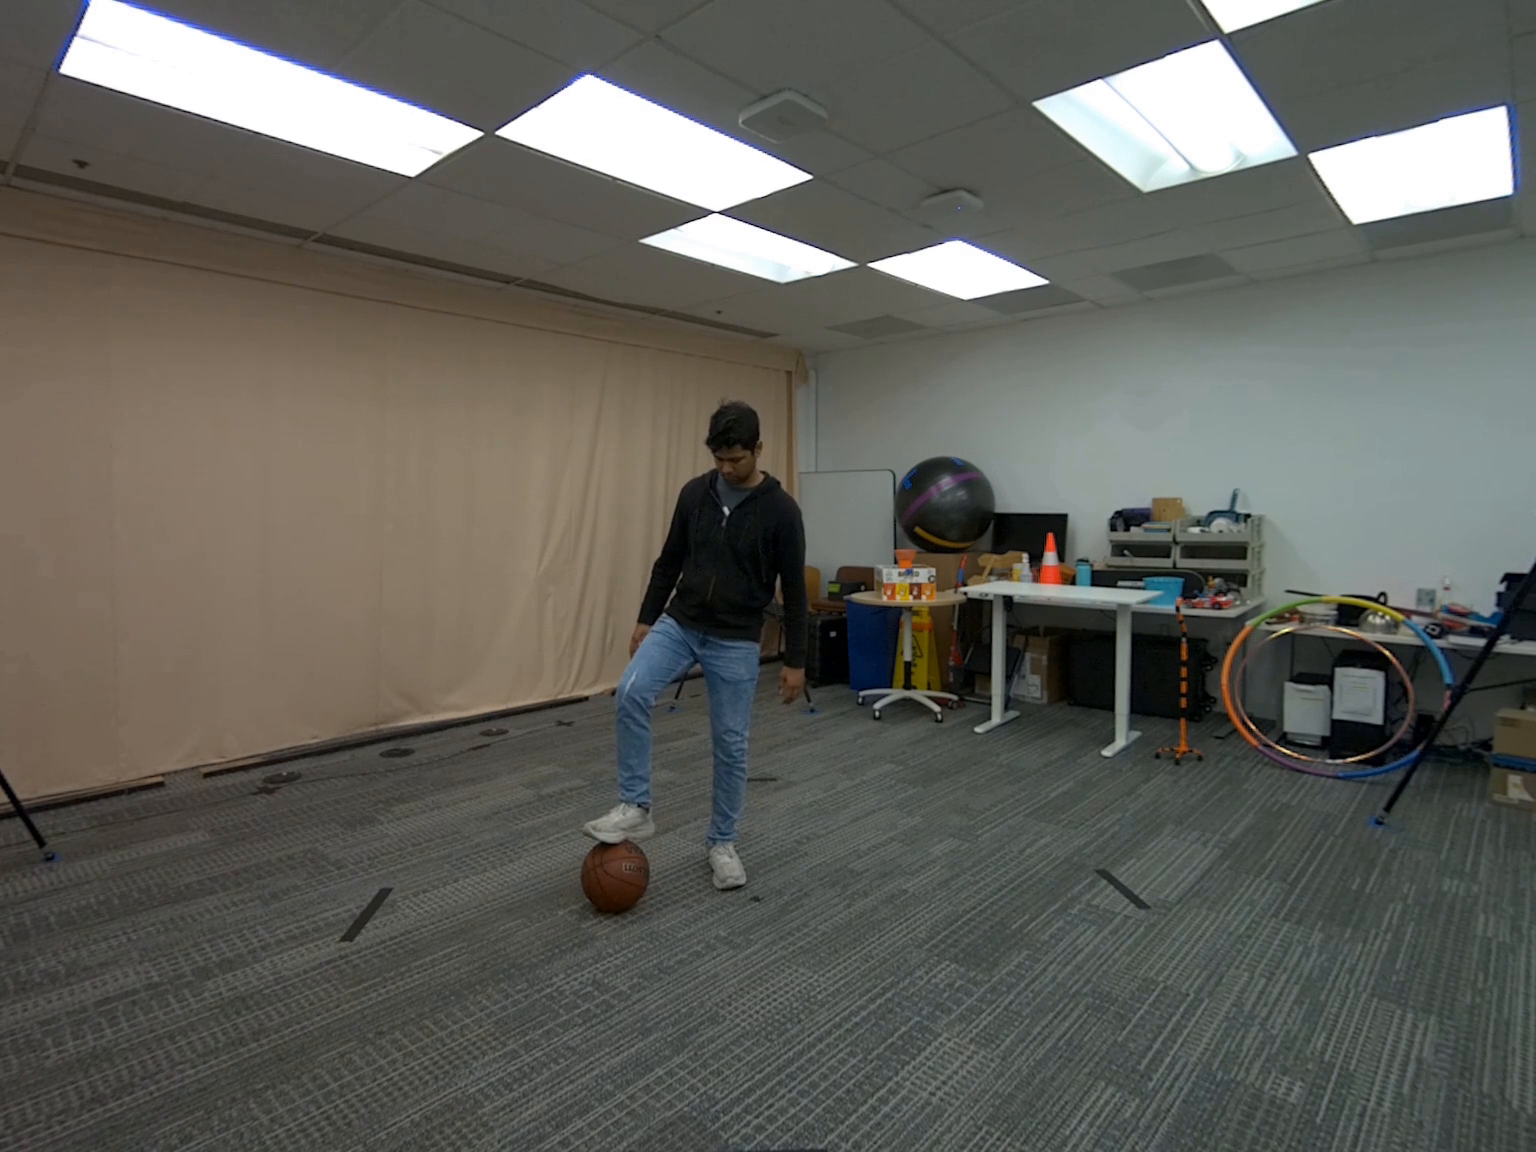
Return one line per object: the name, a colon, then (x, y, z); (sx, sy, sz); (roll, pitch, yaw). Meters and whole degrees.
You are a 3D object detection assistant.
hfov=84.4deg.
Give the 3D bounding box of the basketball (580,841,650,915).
basketball: (-0.530, 1.038, 2.920); (0.236, 0.235, 0.237); (0, 4, -2)
